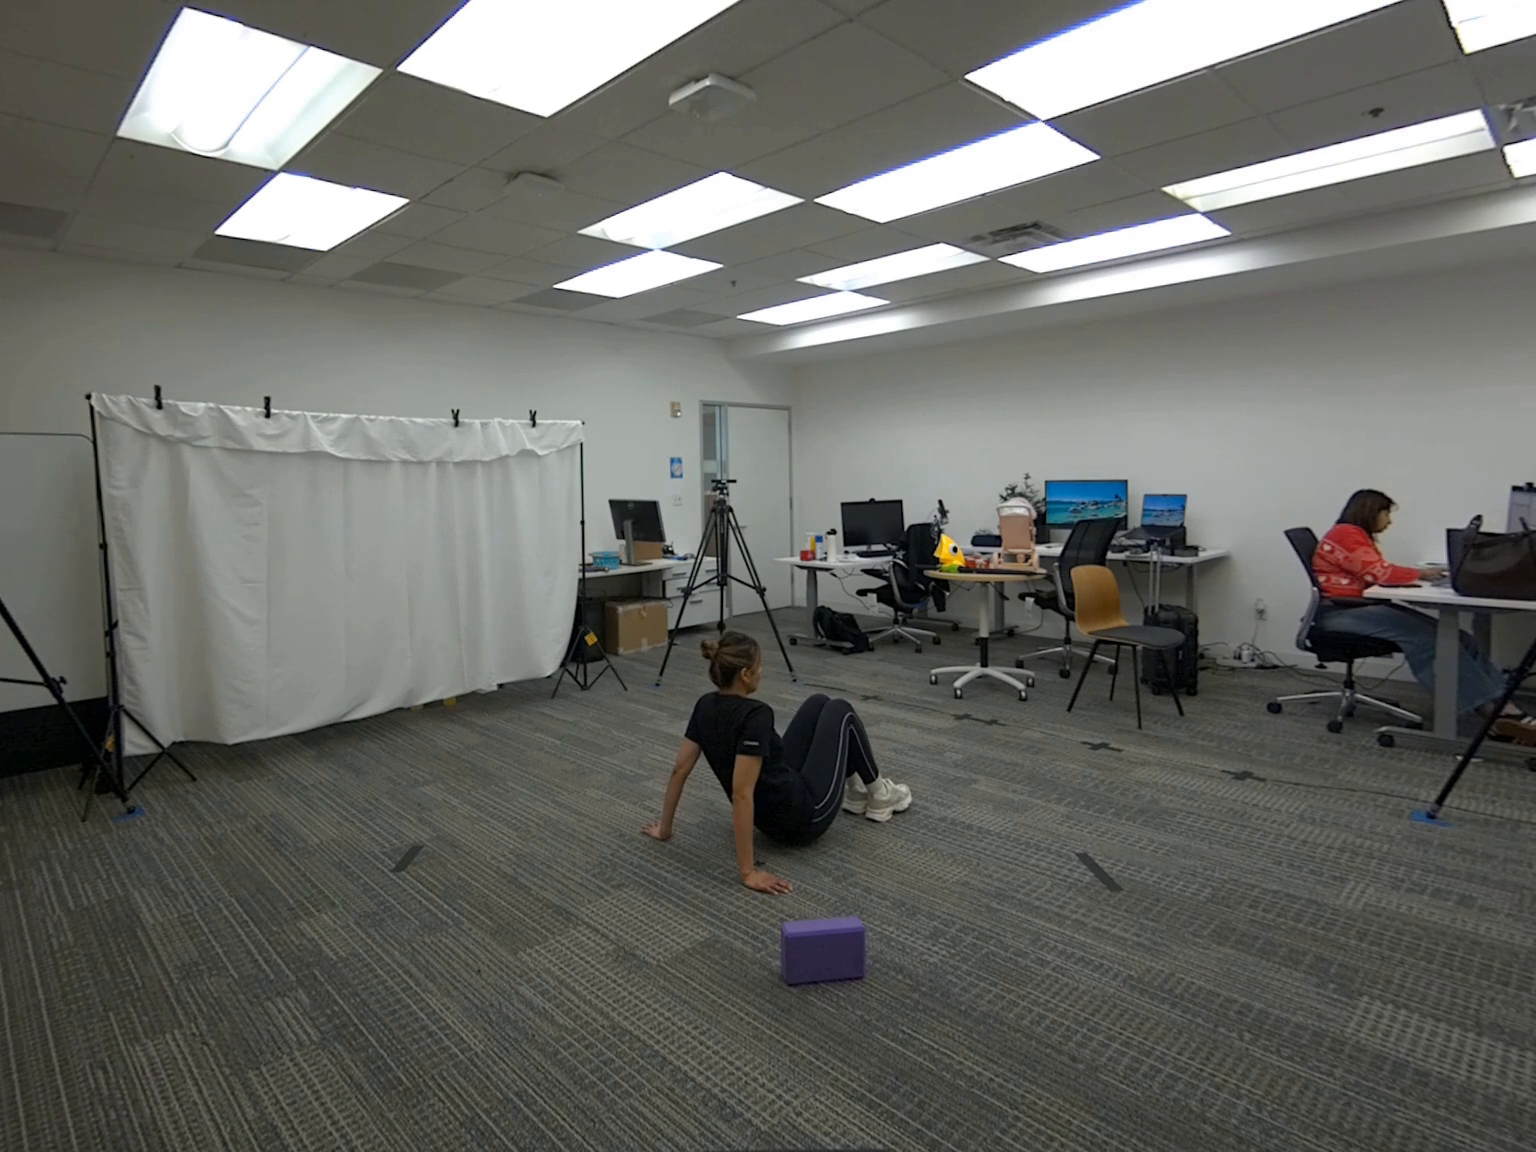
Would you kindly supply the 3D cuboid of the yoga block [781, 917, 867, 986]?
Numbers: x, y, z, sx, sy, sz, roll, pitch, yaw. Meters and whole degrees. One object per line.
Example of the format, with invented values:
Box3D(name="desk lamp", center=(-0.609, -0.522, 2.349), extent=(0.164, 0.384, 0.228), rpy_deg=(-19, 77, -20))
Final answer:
Box3D(name="yoga block", center=(0.153, 1.052, 2.400), extent=(0.228, 0.148, 0.077), rpy_deg=(-1, 7, -6))
